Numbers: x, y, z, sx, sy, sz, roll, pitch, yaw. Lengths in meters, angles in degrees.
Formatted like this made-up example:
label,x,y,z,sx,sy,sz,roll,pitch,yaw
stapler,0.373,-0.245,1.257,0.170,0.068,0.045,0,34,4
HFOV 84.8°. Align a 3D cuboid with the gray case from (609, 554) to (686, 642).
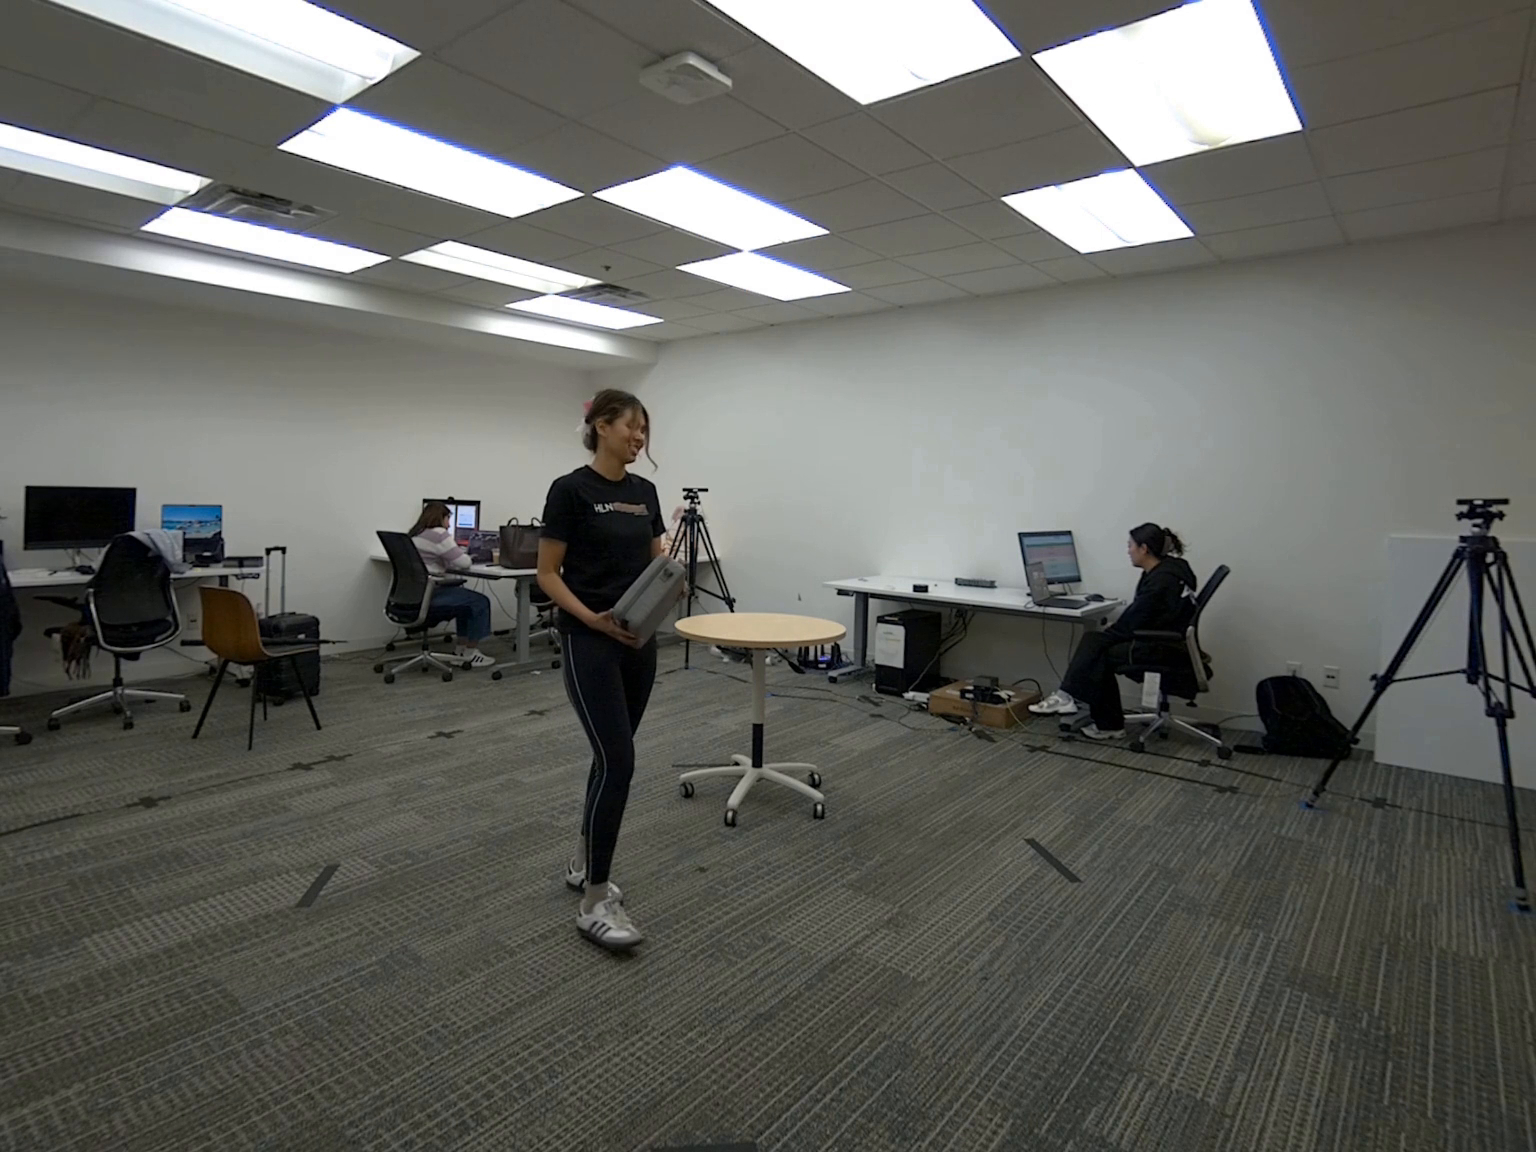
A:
label,x,y,z,sx,sy,sz,roll,pitch,yaw
gray case,-0.383,0.077,2.624,0.105,0.261,0.253,36,-21,6
